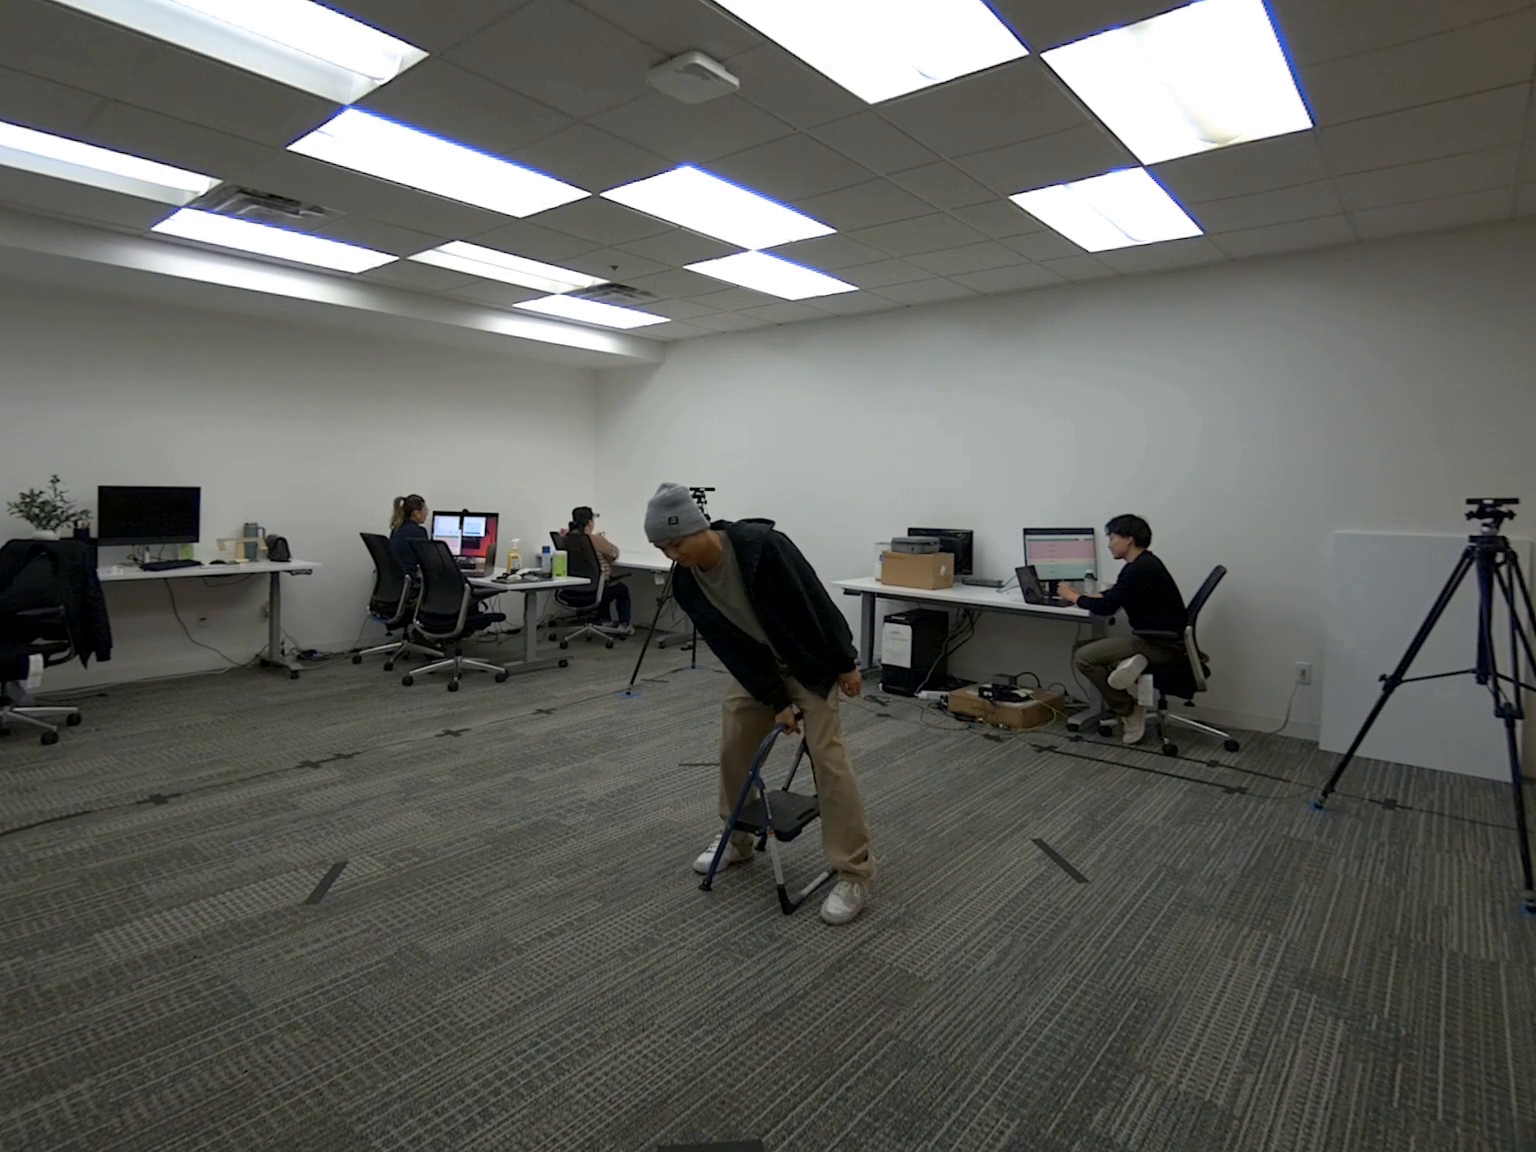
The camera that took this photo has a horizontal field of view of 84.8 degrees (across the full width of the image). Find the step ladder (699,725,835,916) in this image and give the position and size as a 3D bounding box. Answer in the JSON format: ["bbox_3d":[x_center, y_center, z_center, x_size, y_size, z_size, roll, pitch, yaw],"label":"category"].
[{"bbox_3d":[0.014,0.780,3.019,0.359,0.604,0.420,3,5,29],"label":"step ladder"}]
